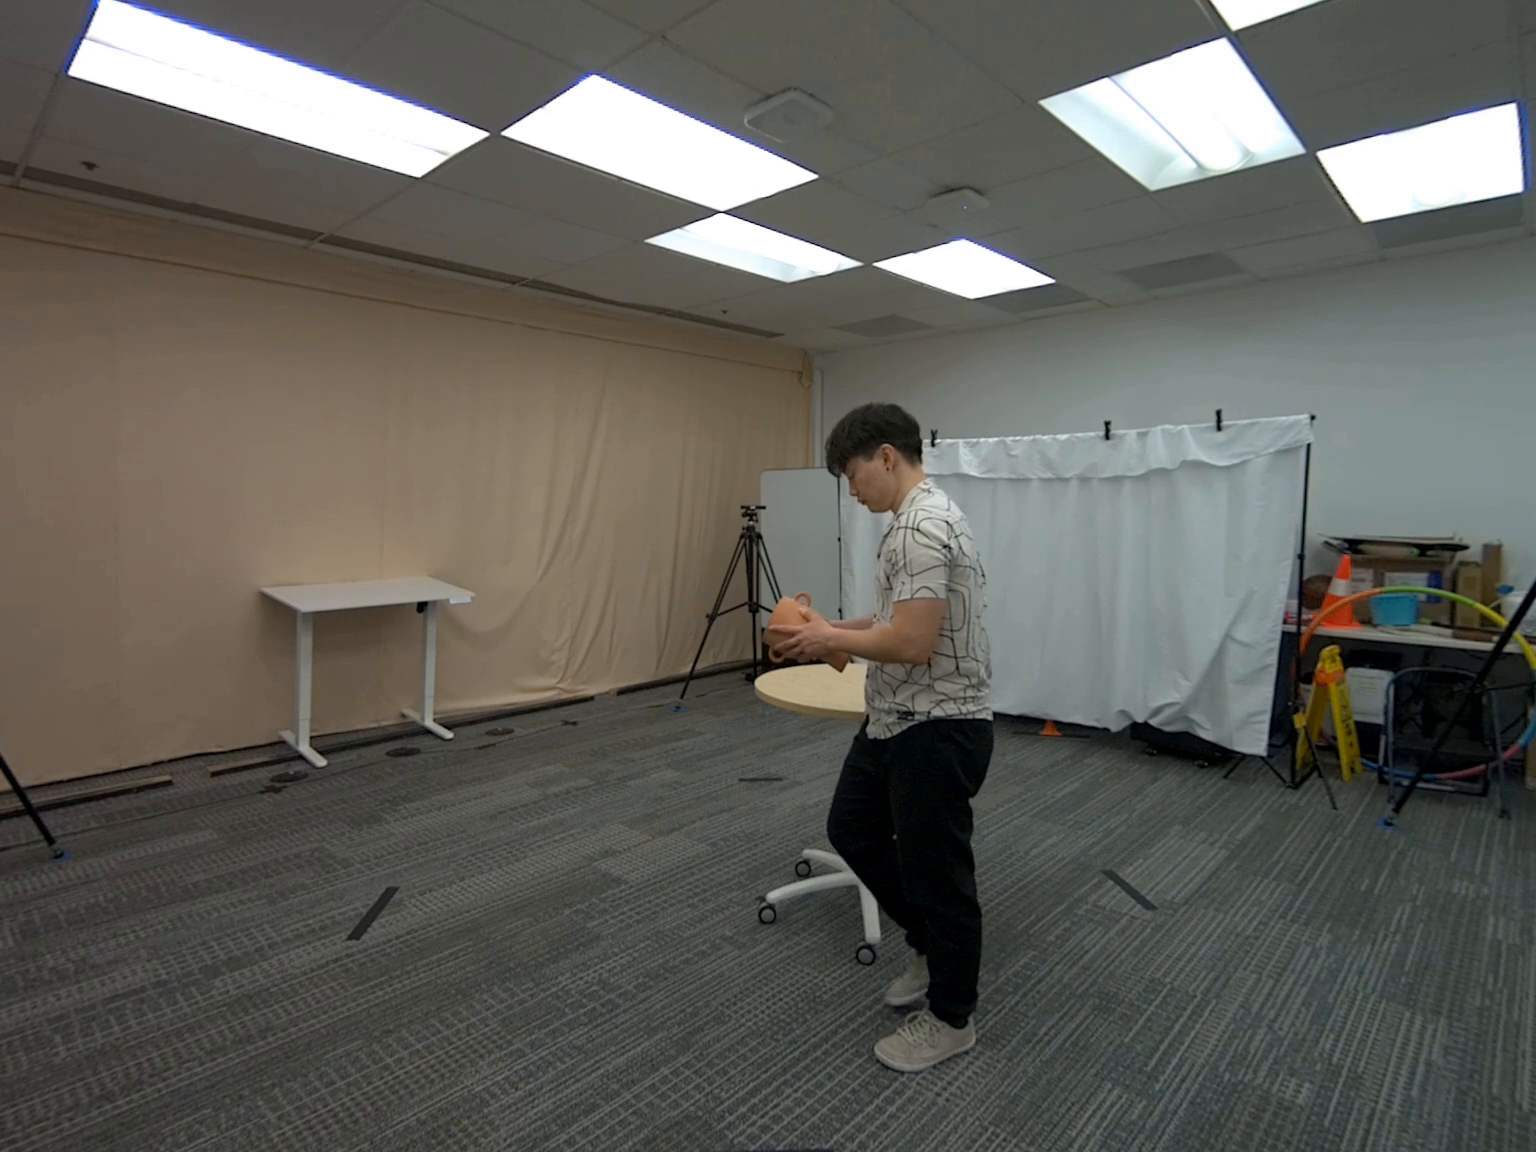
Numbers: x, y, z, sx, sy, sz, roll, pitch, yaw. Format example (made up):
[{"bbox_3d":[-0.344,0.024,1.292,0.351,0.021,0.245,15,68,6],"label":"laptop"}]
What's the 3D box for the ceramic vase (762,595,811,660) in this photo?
[{"bbox_3d":[0.115,0.160,2.191,0.223,0.157,0.134,25,38,10],"label":"ceramic vase"}]
